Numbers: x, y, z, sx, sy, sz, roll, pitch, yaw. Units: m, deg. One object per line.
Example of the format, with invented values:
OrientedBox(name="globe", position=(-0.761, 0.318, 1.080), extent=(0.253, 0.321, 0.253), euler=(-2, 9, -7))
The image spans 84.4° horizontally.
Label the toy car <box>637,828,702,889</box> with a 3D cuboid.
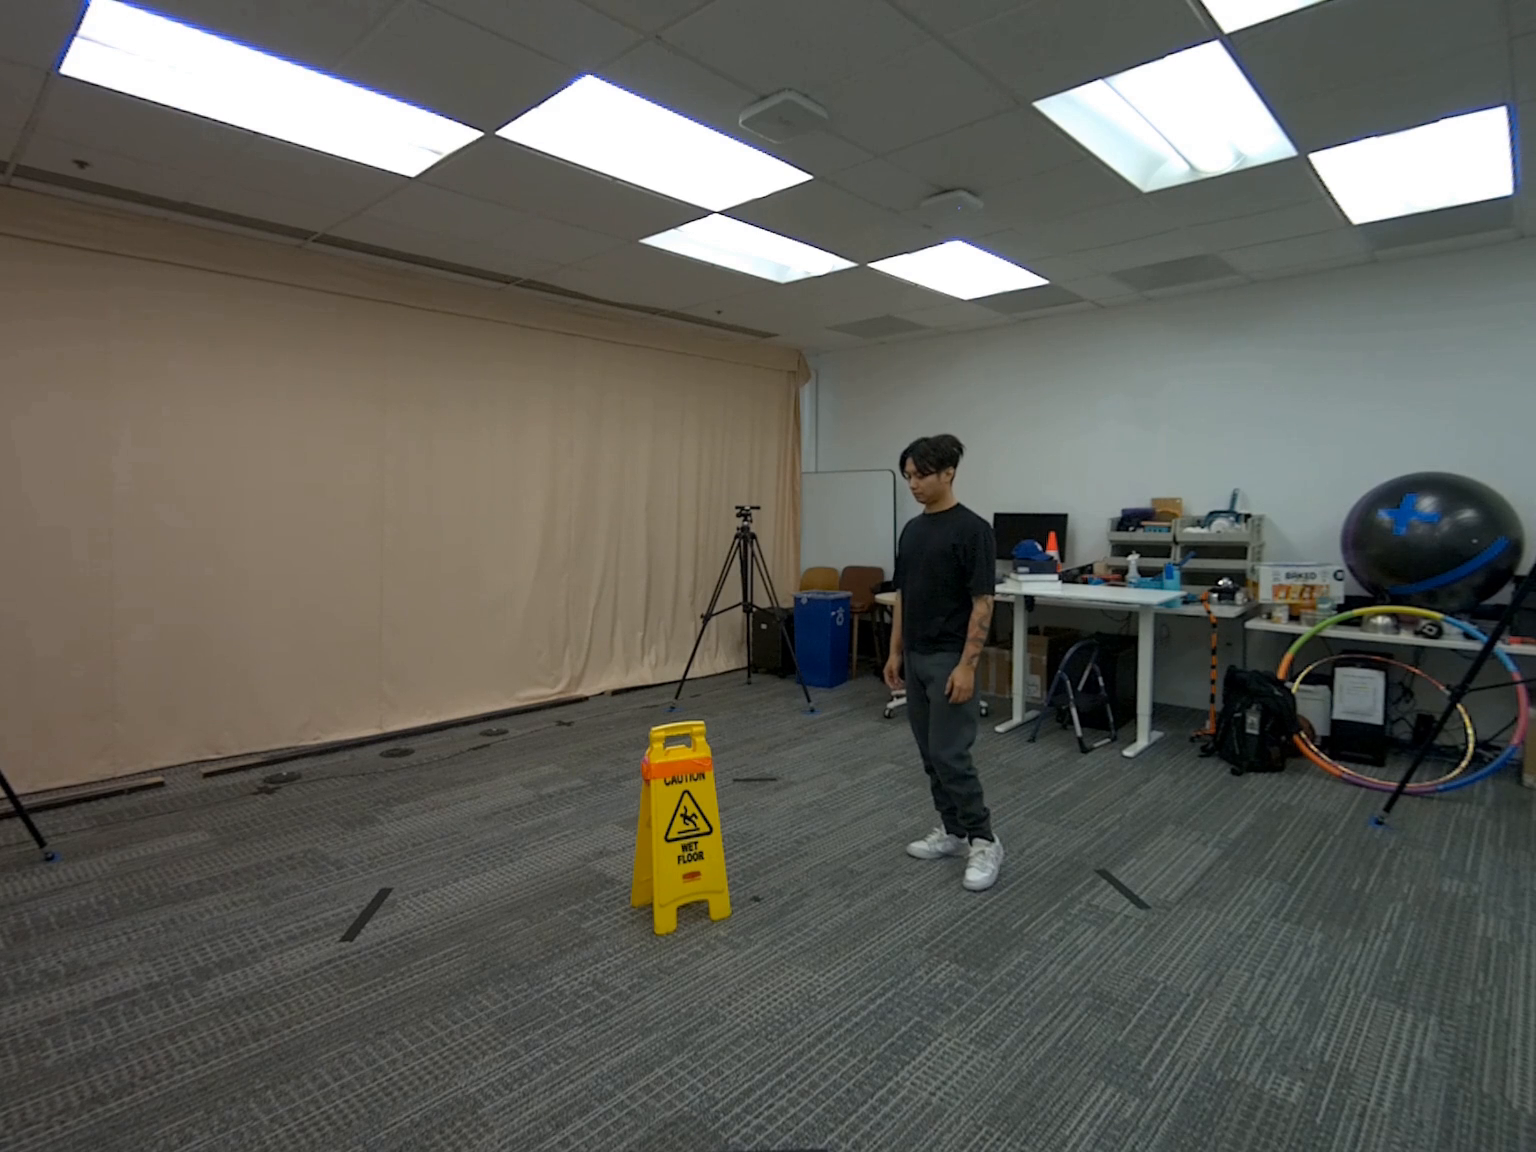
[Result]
OrientedBox(name="toy car", position=(-0.384, 1.094, 3.299), extent=(0.133, 0.082, 0.250), euler=(-1, 14, 25))
